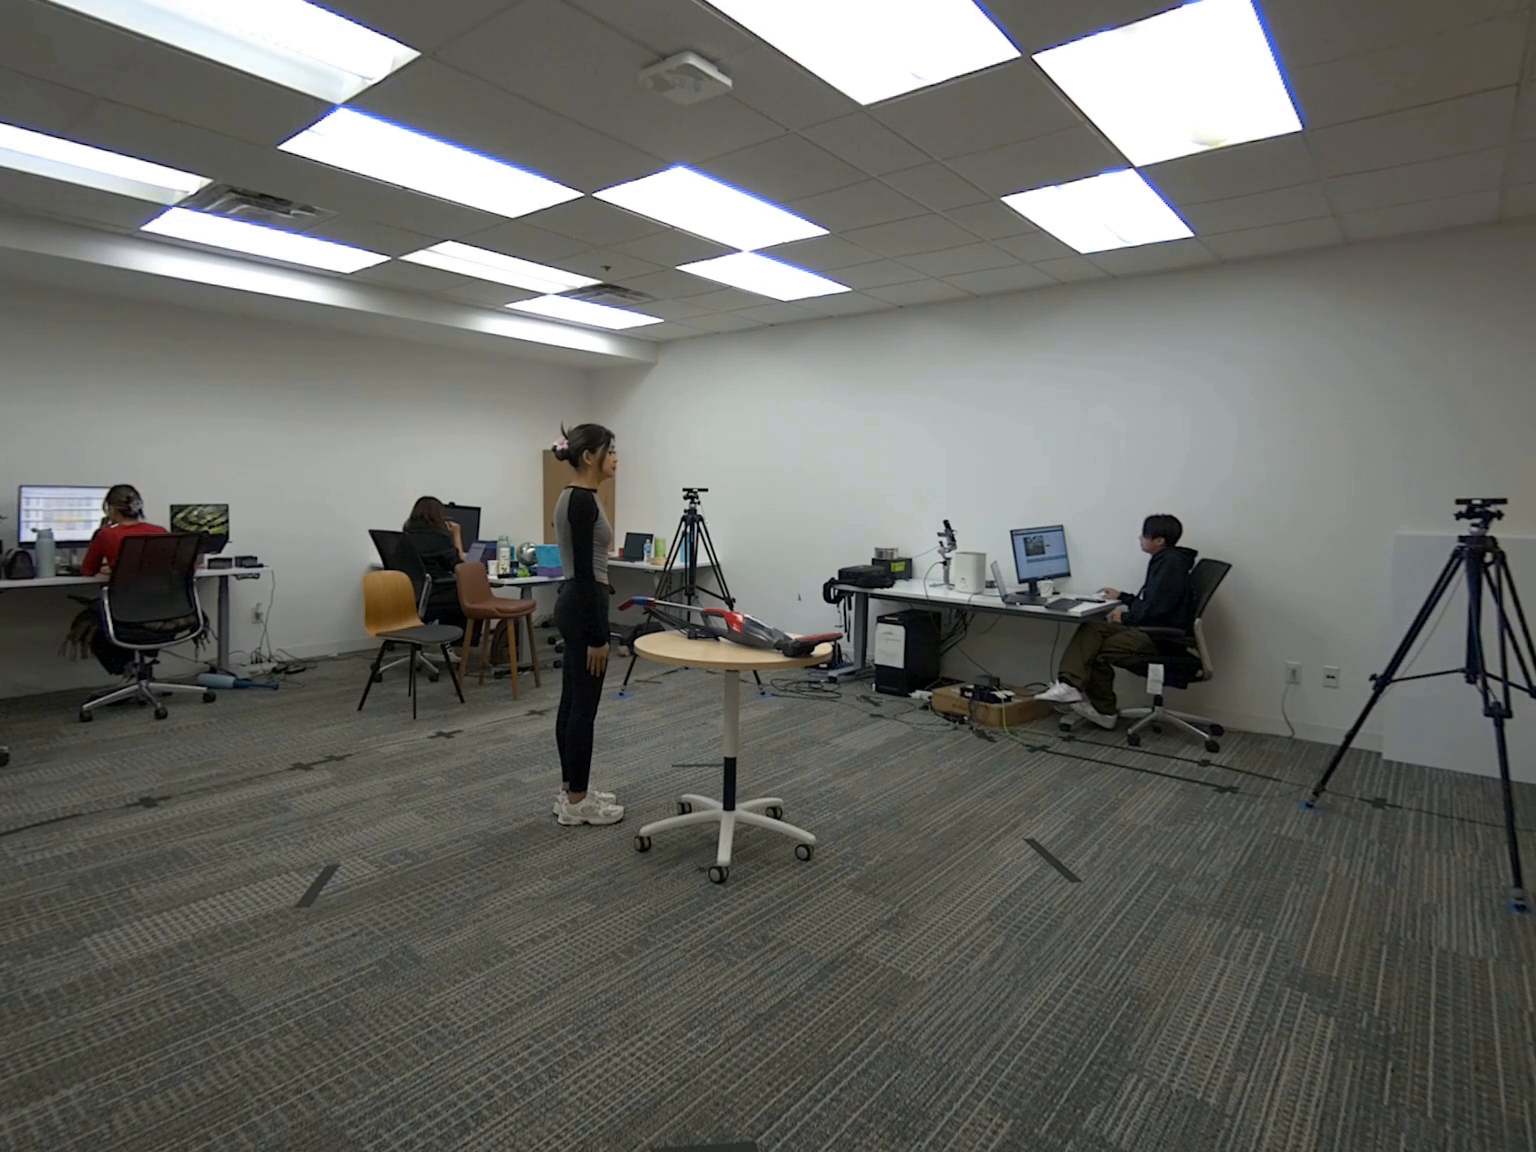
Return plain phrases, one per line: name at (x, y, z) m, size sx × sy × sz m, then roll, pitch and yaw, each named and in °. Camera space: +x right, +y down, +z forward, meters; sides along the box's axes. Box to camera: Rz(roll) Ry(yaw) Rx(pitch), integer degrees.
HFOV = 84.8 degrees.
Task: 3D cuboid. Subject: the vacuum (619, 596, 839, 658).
vacuum at (-0.254, 0.202, 3.405) m, size 1.086 × 0.143 × 0.245 m, roll 8°, pitch 8°, yaw 41°
